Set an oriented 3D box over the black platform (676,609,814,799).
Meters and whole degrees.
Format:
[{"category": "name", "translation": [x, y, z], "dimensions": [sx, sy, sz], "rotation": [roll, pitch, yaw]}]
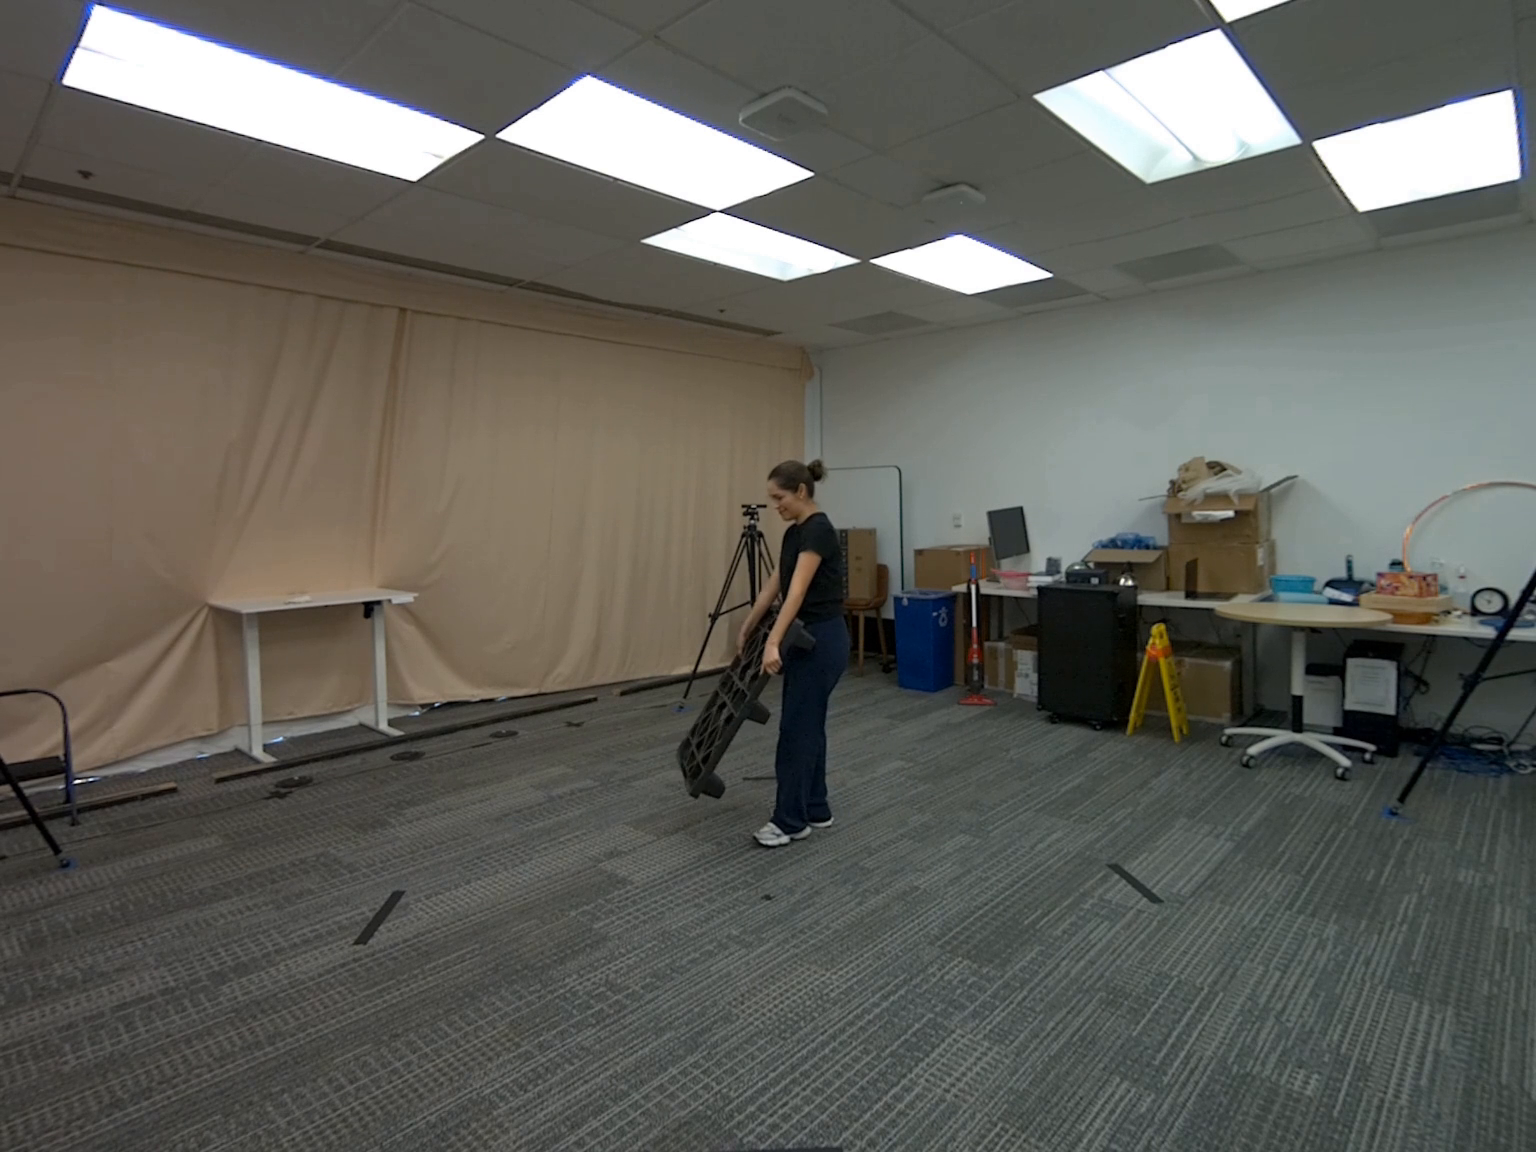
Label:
[{"category": "black platform", "translation": [-0.090, 0.517, 3.544], "dimensions": [0.141, 0.805, 0.612], "rotation": [31, -2, -12]}]
